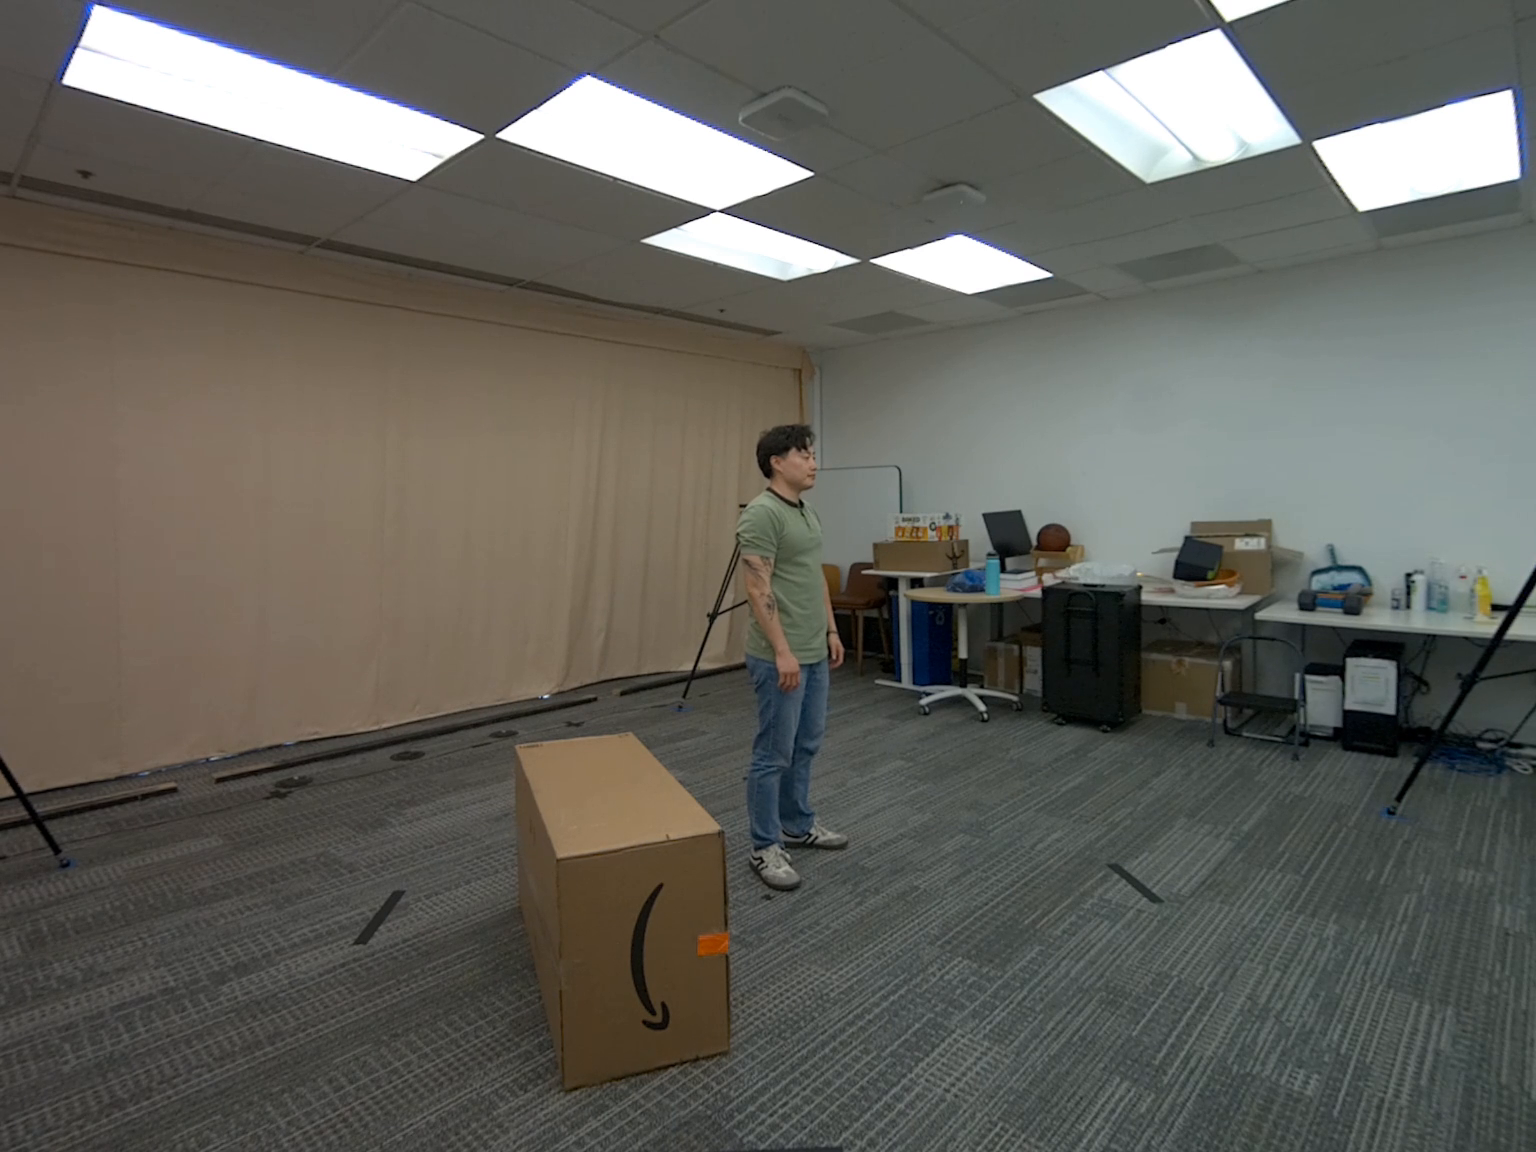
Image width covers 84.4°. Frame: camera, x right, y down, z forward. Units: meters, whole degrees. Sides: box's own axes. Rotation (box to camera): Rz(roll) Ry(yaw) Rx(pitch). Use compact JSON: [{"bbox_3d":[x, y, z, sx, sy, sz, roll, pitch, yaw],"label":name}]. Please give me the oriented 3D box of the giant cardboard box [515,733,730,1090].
[{"bbox_3d":[-0.488,0.896,2.537,0.417,0.576,1.049,-2,4,-22],"label":"giant cardboard box"}]
